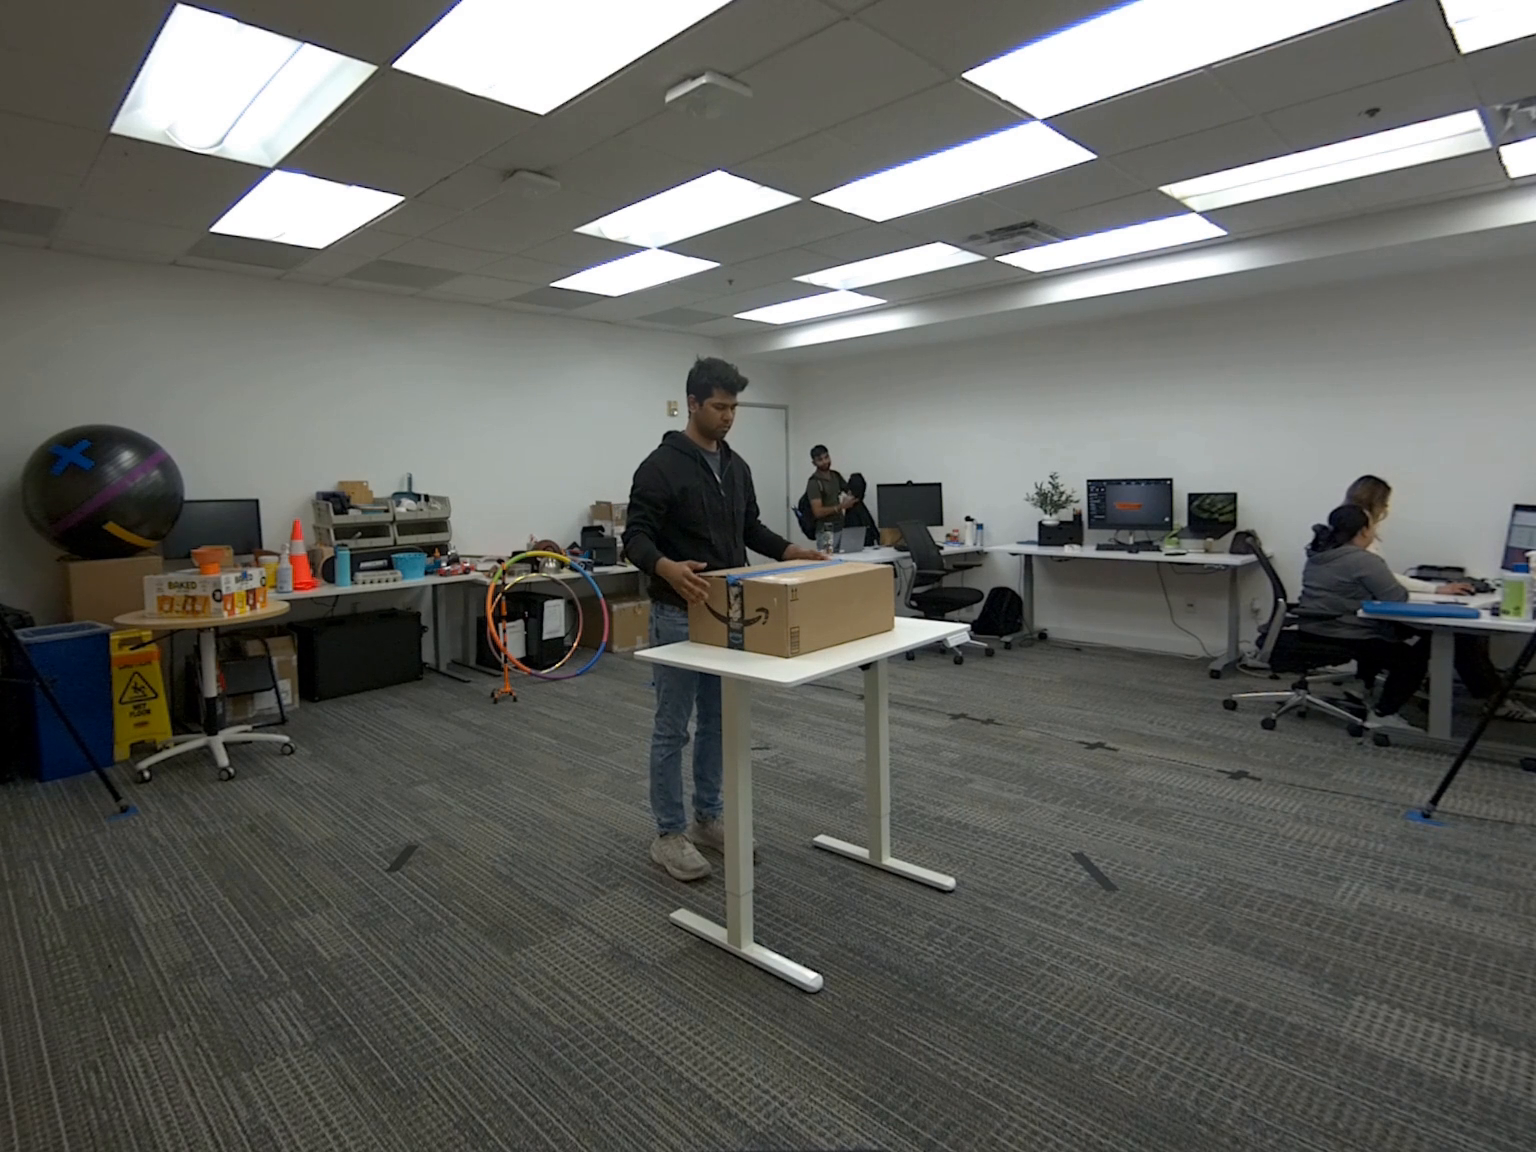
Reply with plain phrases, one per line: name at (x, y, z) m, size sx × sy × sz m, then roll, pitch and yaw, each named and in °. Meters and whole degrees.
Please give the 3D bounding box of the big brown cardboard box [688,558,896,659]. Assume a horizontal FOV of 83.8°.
big brown cardboard box at (0.076, 0.085, 2.787) m, size 0.430 × 0.232 × 0.573 m, roll 4°, pitch 7°, yaw 42°
